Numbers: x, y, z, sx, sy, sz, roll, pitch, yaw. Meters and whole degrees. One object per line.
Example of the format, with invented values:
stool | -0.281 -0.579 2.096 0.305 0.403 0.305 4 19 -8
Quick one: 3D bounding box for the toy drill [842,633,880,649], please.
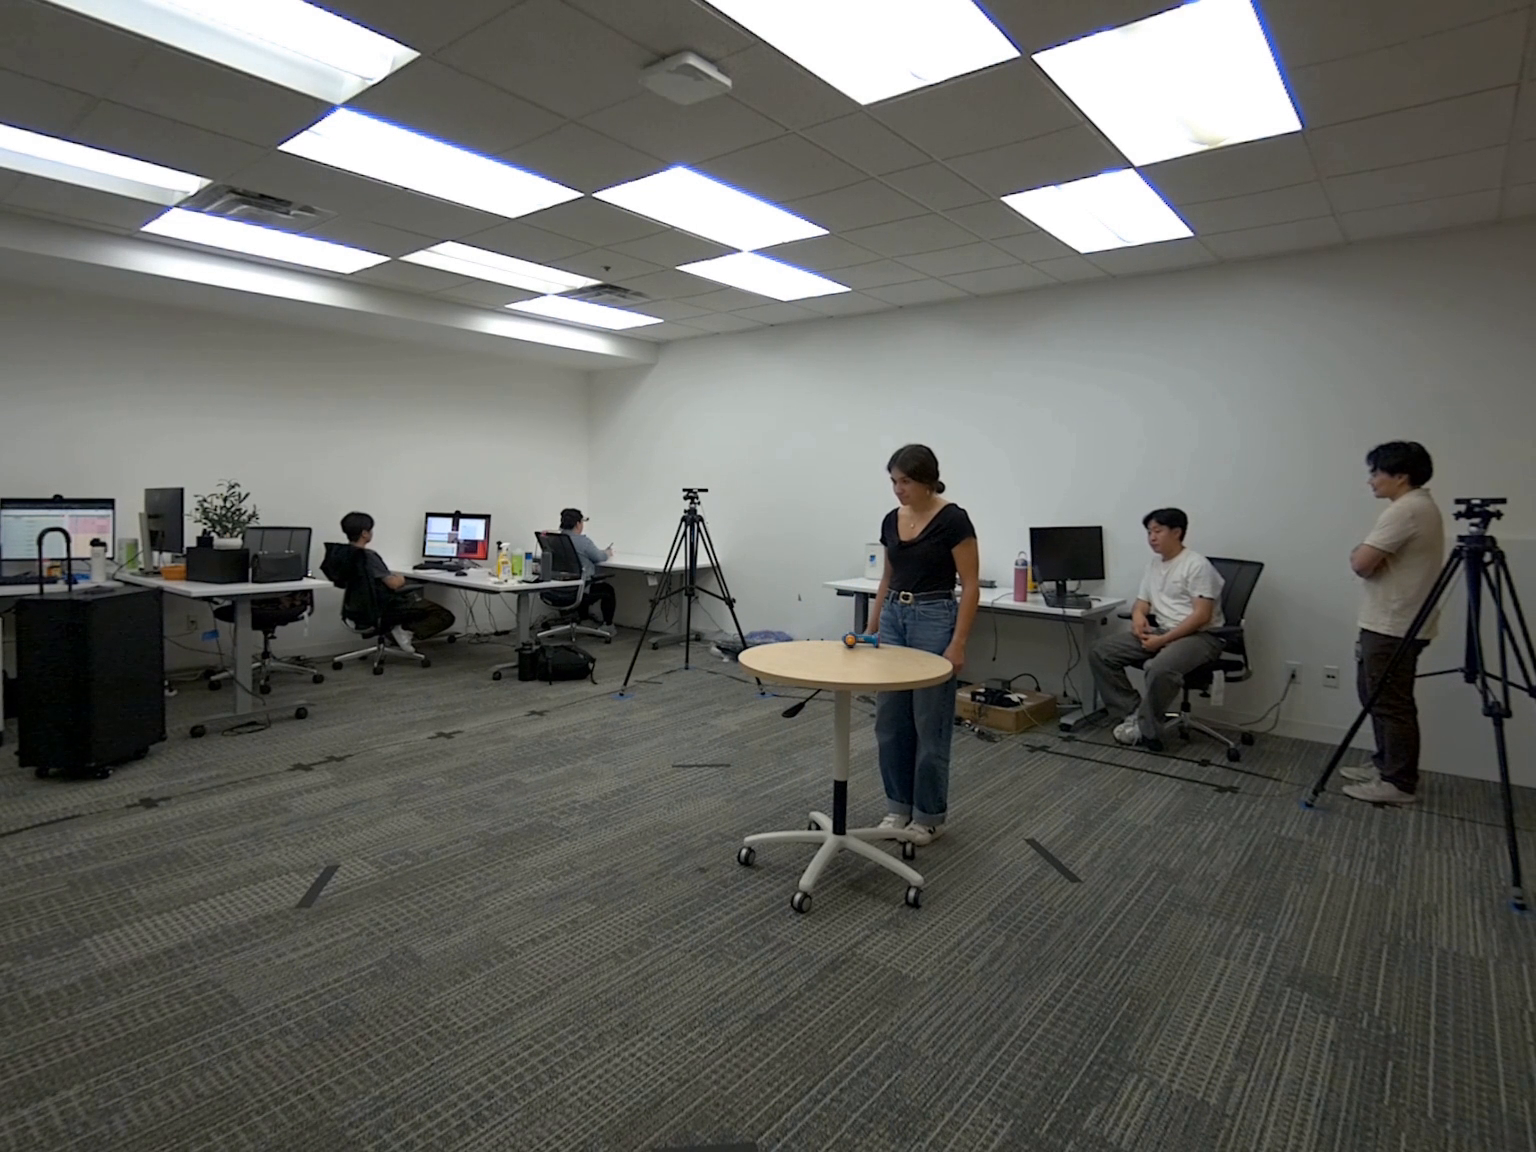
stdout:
toy drill | 0.363 0.240 3.326 0.147 0.061 0.168 3 -1 5
